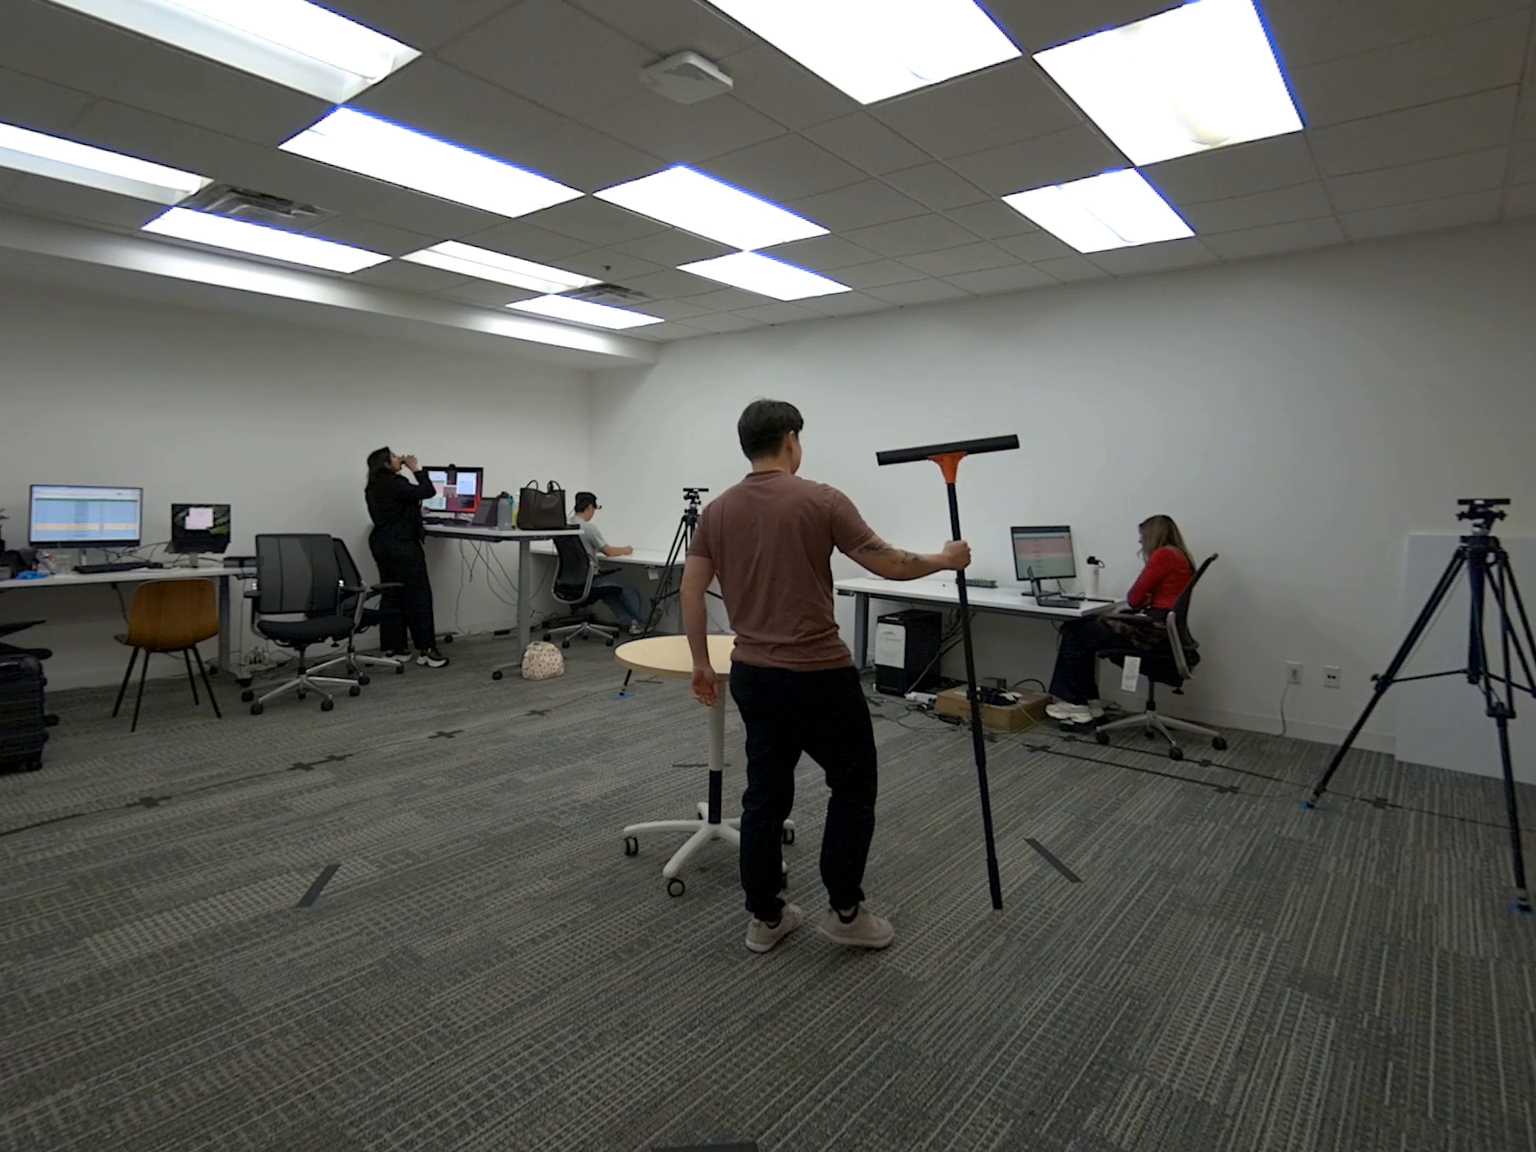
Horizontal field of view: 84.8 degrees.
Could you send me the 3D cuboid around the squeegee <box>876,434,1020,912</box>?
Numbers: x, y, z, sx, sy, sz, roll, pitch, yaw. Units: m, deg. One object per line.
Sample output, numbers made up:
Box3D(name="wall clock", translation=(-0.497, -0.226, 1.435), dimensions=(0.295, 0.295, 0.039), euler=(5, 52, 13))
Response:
Box3D(name="squeegee", translation=(0.643, 0.349, 2.699), dimensions=(0.448, 1.531, 0.052), euler=(-5, 4, 27))
